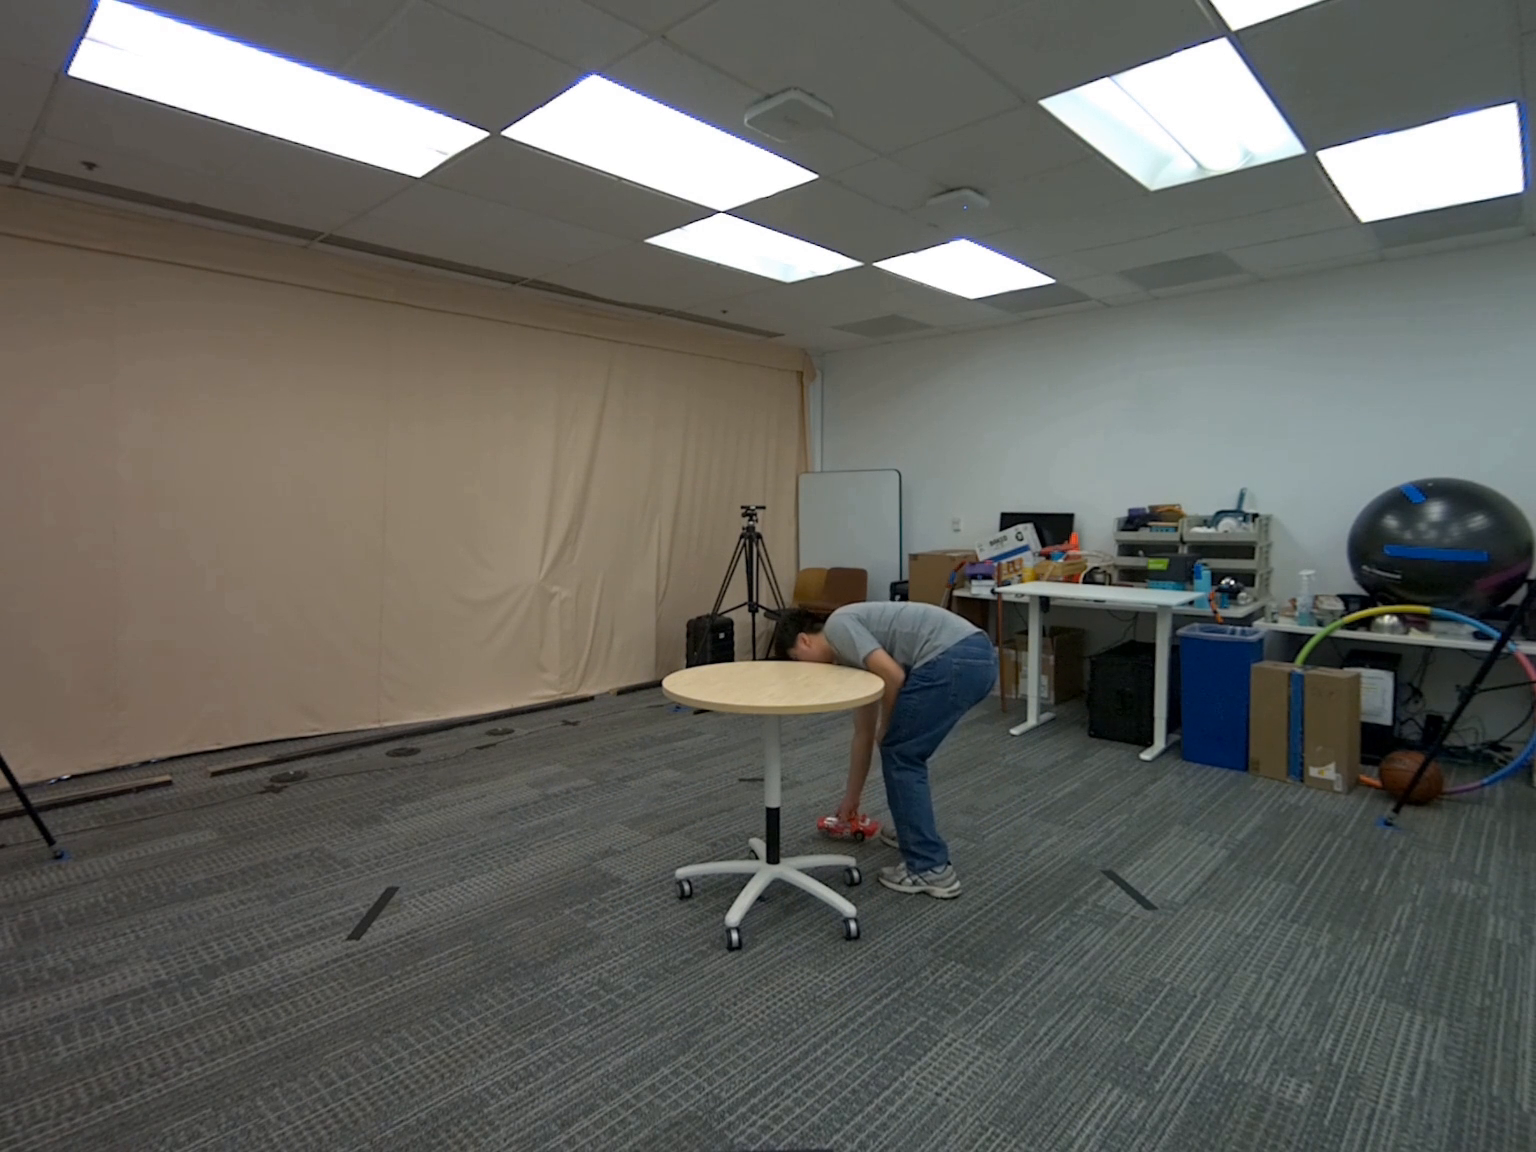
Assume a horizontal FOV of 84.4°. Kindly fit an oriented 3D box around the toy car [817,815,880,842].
[{"bbox_3d":[0.346,1.043,3.492,0.258,0.083,0.129,-9,5,15],"label":"toy car"}]
